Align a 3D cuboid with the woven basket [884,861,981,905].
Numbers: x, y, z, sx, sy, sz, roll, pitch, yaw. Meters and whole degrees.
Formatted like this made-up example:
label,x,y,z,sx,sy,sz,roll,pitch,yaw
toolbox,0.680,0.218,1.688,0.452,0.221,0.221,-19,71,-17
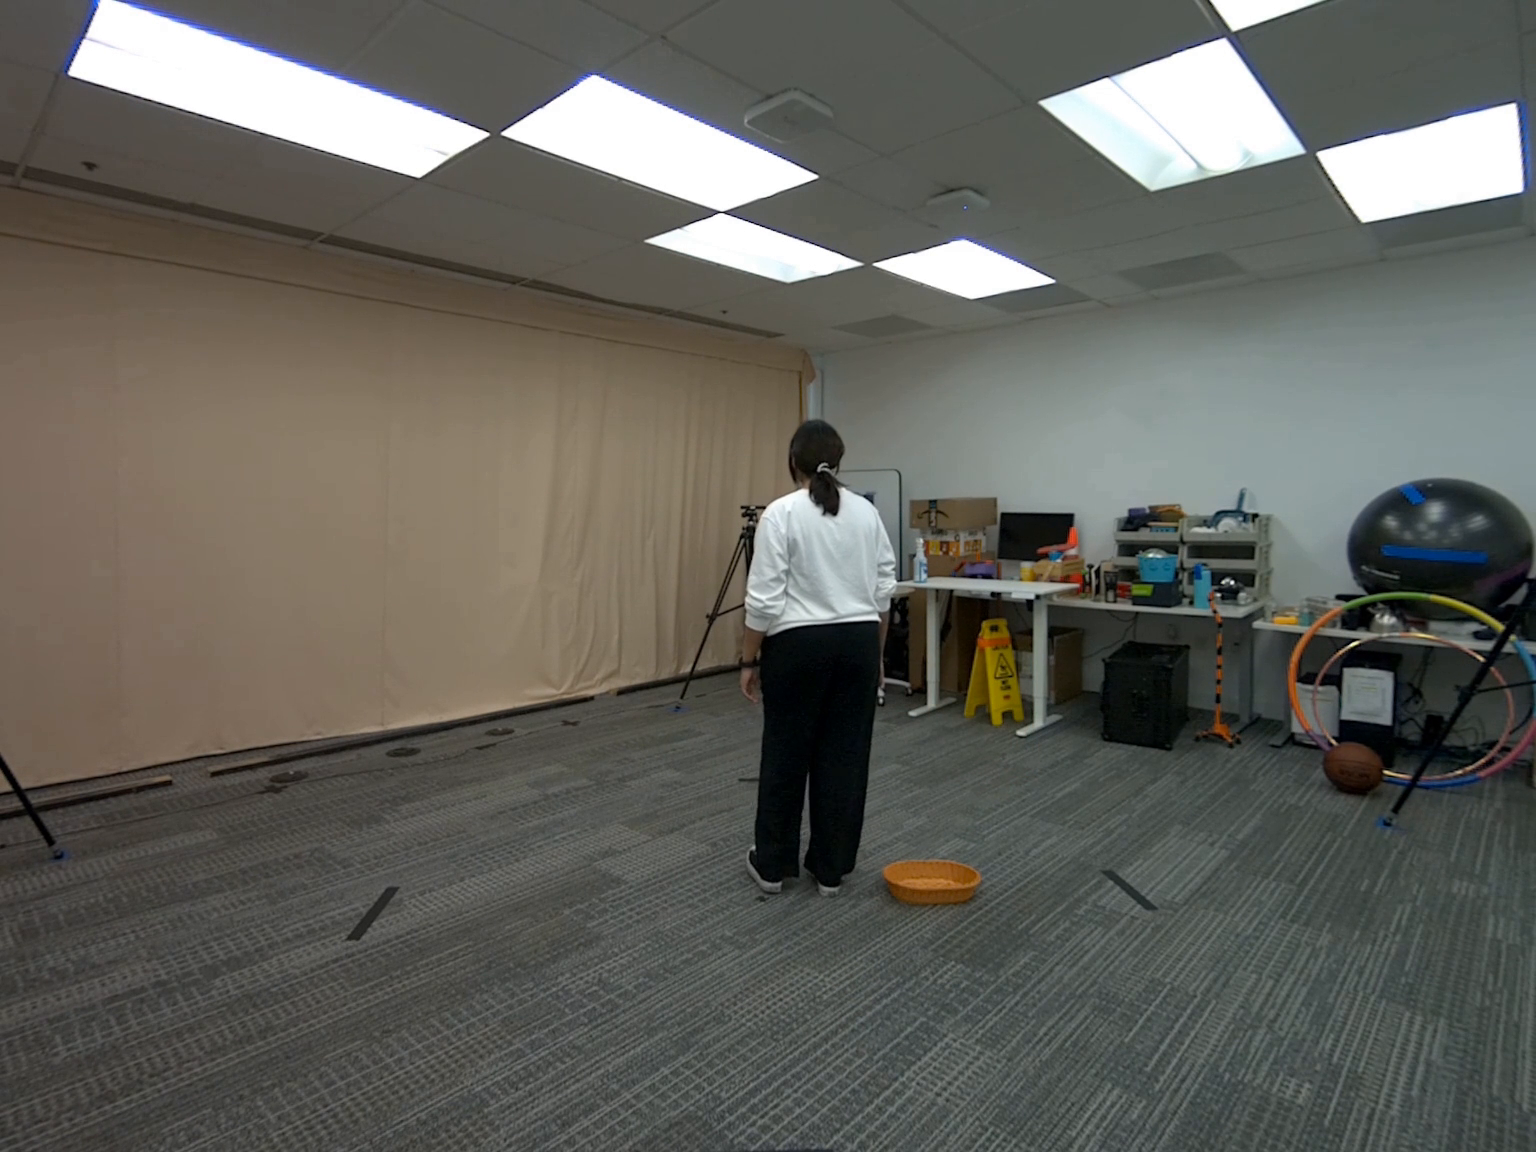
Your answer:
label,x,y,z,sx,sy,sz,roll,pitch,yaw
woven basket,0.593,1.100,3.017,0.350,0.073,0.253,-1,3,0
